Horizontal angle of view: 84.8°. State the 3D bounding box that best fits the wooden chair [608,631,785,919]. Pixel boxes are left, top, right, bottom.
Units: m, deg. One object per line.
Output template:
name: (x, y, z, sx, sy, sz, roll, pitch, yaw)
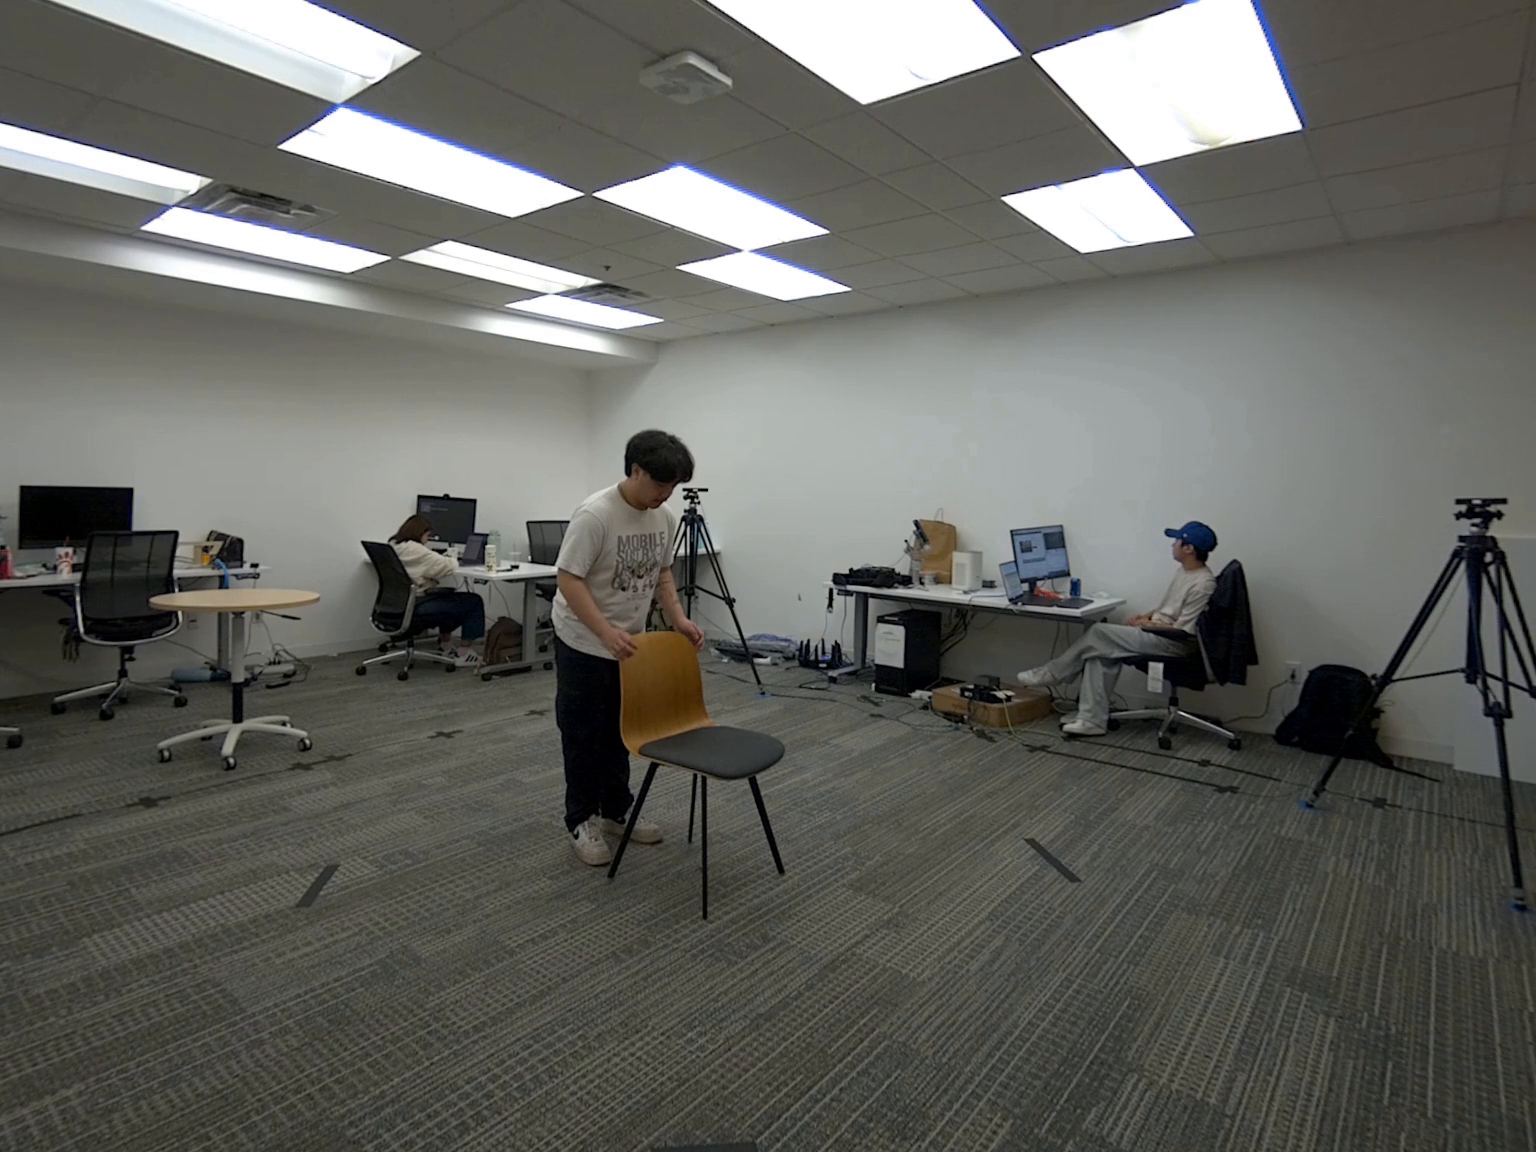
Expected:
wooden chair: (-0.243, 0.652, 3.017, 0.539, 0.877, 0.464, -1, 0, 37)
